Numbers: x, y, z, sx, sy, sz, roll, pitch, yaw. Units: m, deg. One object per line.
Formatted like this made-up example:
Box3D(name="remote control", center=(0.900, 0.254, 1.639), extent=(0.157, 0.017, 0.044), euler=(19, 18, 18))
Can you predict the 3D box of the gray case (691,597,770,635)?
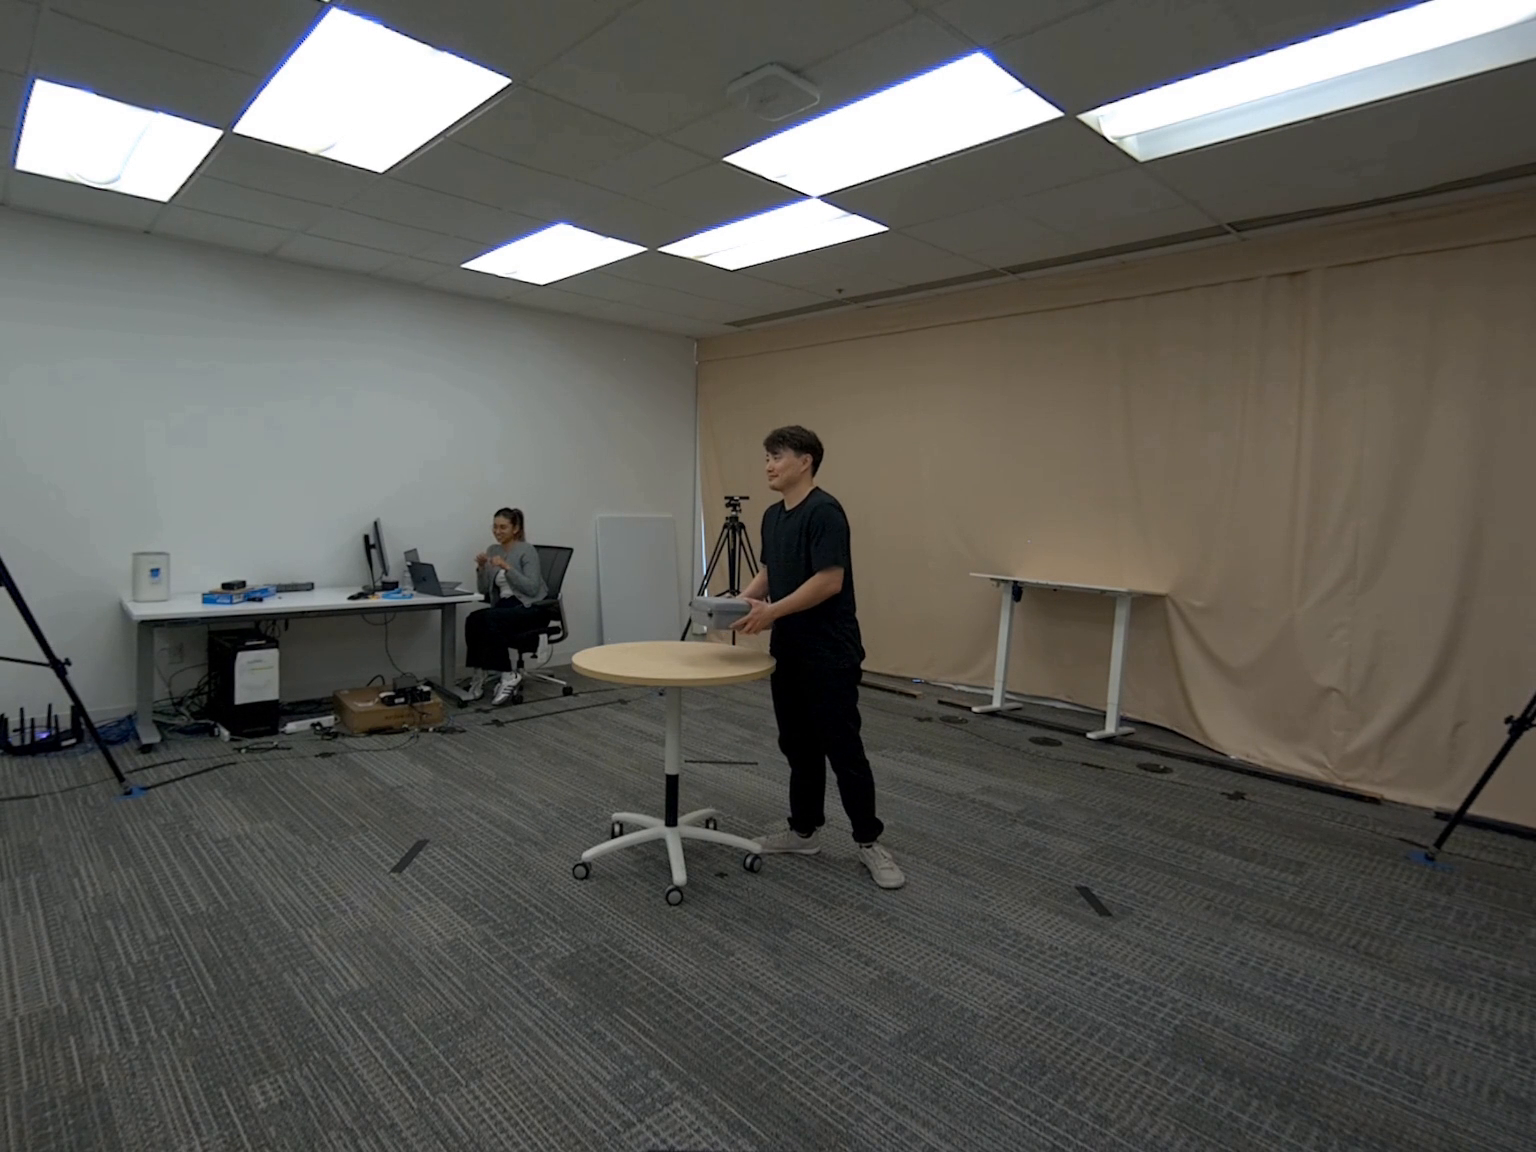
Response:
Box3D(name="gray case", center=(-0.130, 0.146, 3.141), extent=(0.257, 0.104, 0.260), euler=(3, 1, -15))
